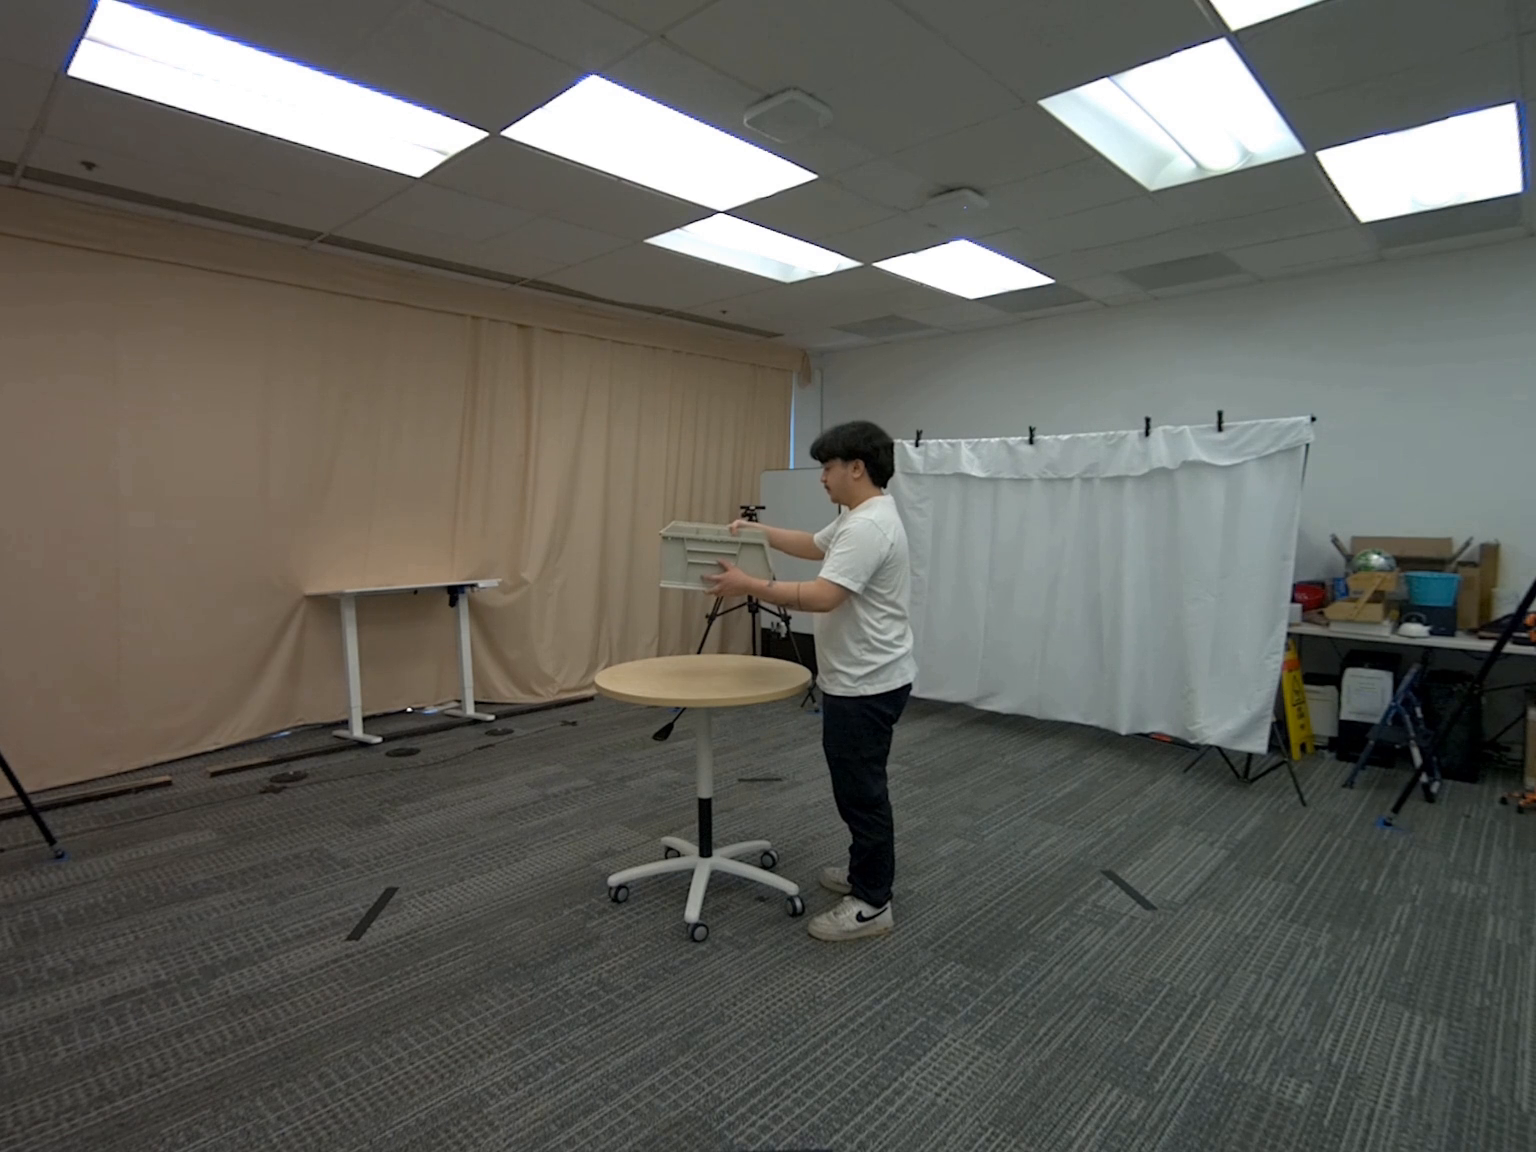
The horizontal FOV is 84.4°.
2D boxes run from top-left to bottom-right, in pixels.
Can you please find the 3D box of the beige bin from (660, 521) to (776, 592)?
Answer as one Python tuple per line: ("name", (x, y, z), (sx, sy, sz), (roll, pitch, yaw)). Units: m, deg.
("beige bin", (-0.158, -0.074, 2.913), (0.378, 0.188, 0.423), (2, 8, 1))
